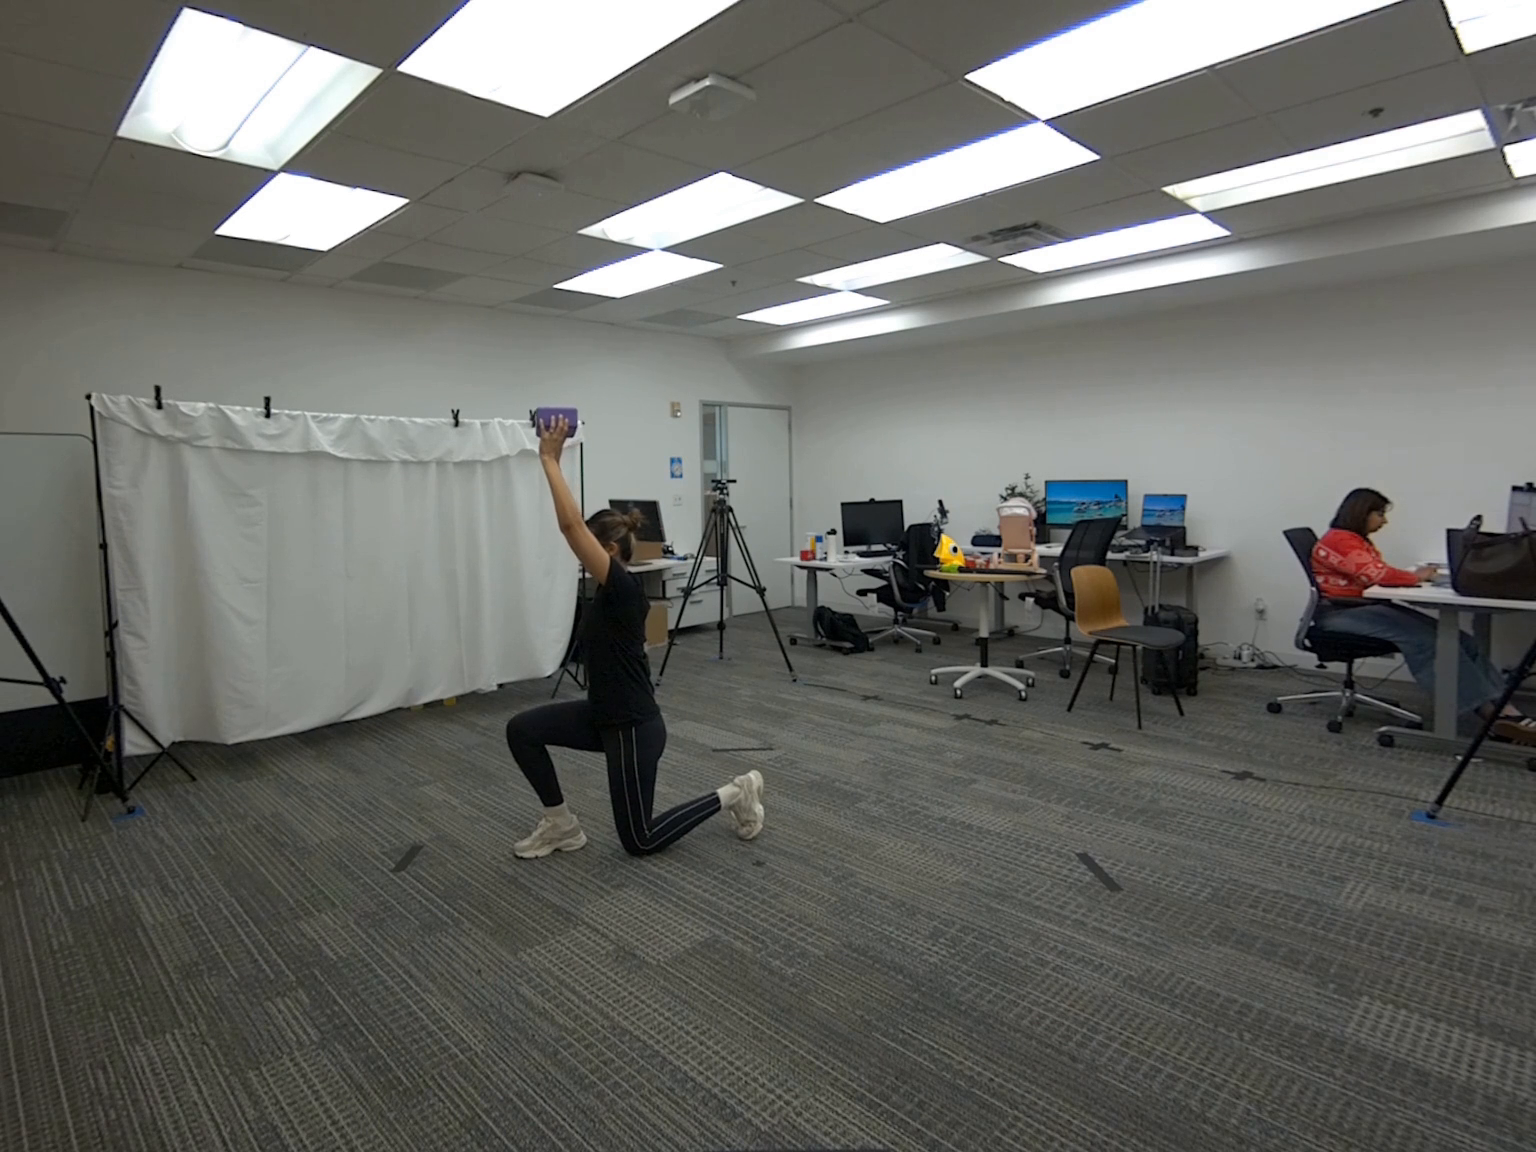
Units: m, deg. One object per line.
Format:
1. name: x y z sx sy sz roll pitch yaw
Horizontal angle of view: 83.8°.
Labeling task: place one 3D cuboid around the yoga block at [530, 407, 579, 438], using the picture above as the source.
1. yoga block: -0.792 -0.577 3.169 0.147 0.076 0.231 0 0 -10
